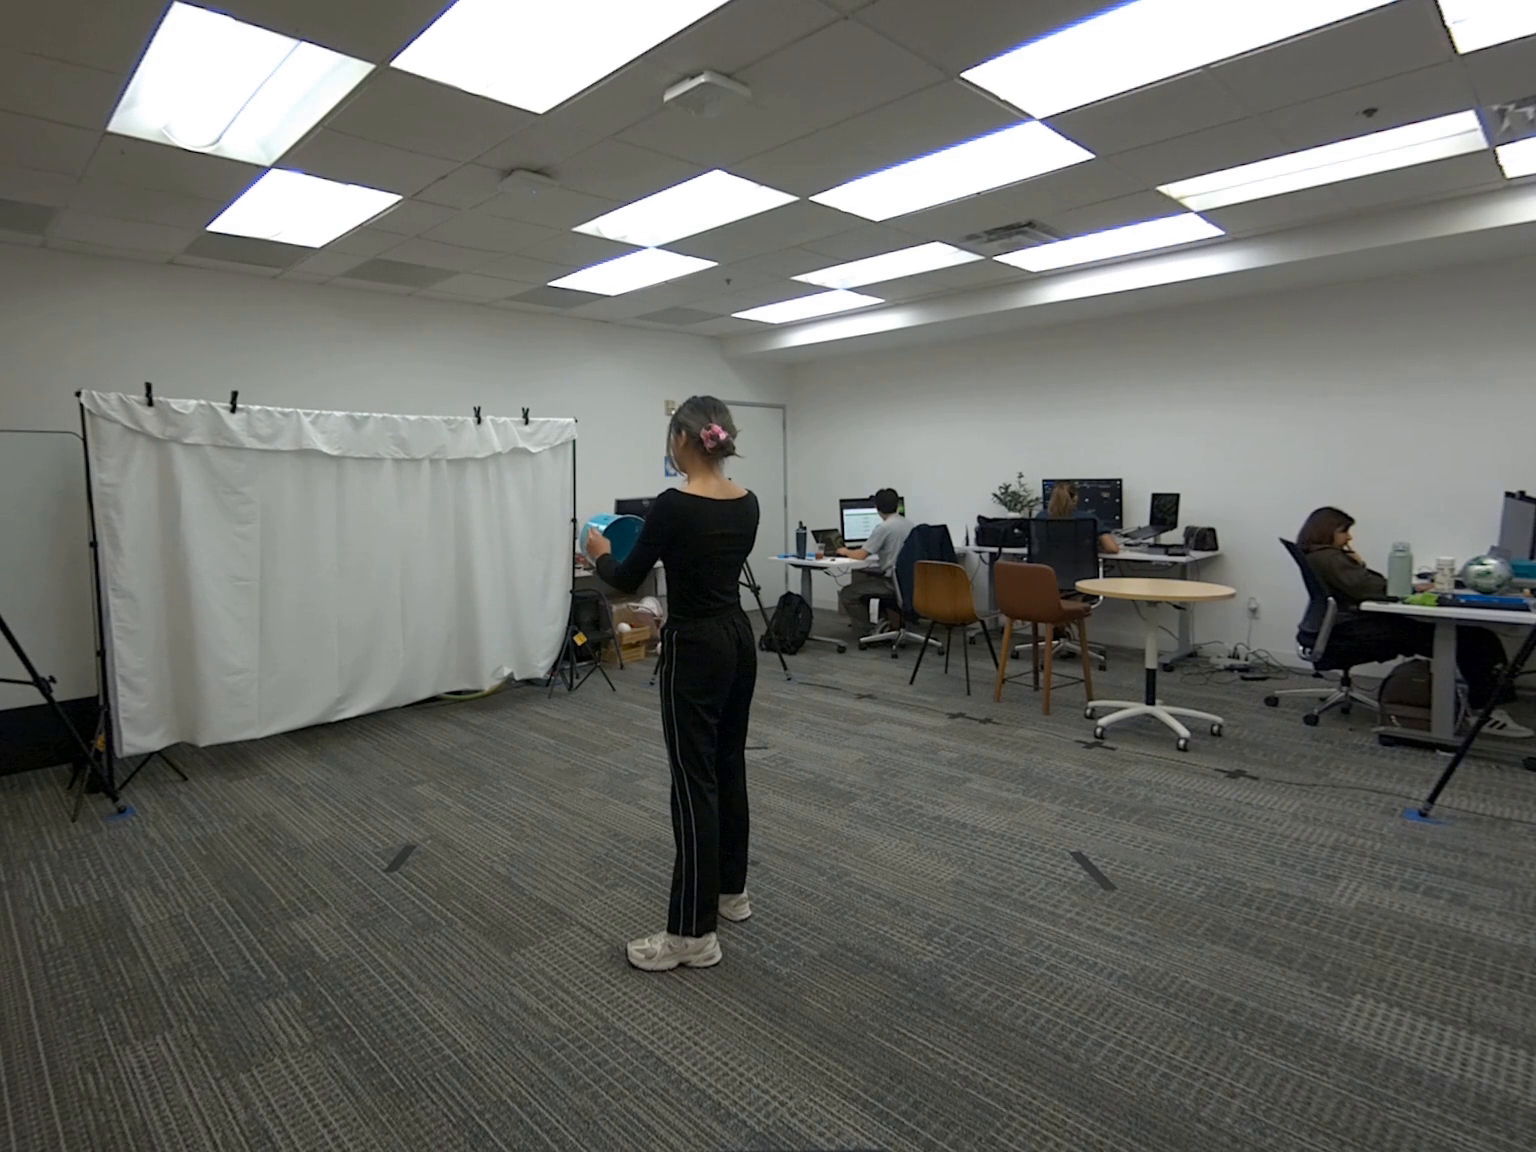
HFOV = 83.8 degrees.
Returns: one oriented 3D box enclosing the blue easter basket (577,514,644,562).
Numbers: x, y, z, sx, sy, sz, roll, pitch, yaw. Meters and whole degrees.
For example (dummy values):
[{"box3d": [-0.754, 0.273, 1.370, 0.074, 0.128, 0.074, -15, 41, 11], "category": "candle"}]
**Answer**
[{"box3d": [-0.523, -0.106, 2.936, 0.237, 0.242, 0.161, -5, 11, -43], "category": "blue easter basket"}]
